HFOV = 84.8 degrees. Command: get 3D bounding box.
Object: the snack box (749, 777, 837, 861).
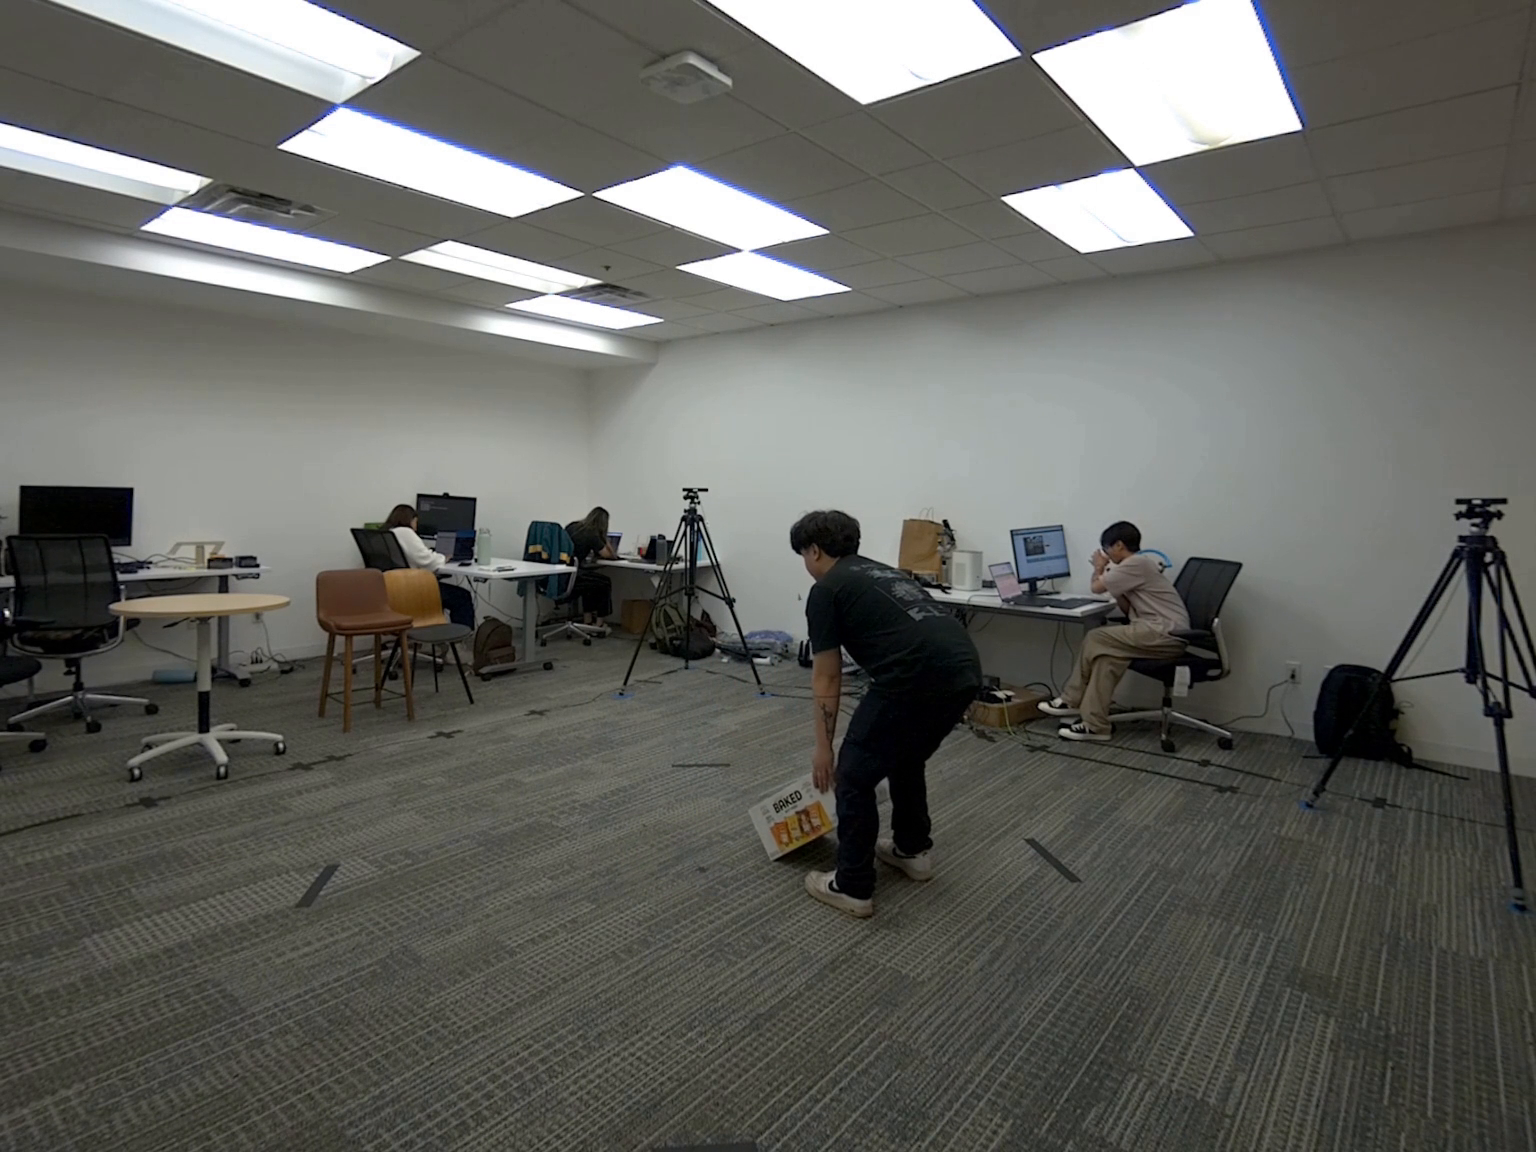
[{"bbox_3d":[0.191,0.866,3.245,0.407,0.211,0.330,-40,-21,33],"label":"snack box"}]
